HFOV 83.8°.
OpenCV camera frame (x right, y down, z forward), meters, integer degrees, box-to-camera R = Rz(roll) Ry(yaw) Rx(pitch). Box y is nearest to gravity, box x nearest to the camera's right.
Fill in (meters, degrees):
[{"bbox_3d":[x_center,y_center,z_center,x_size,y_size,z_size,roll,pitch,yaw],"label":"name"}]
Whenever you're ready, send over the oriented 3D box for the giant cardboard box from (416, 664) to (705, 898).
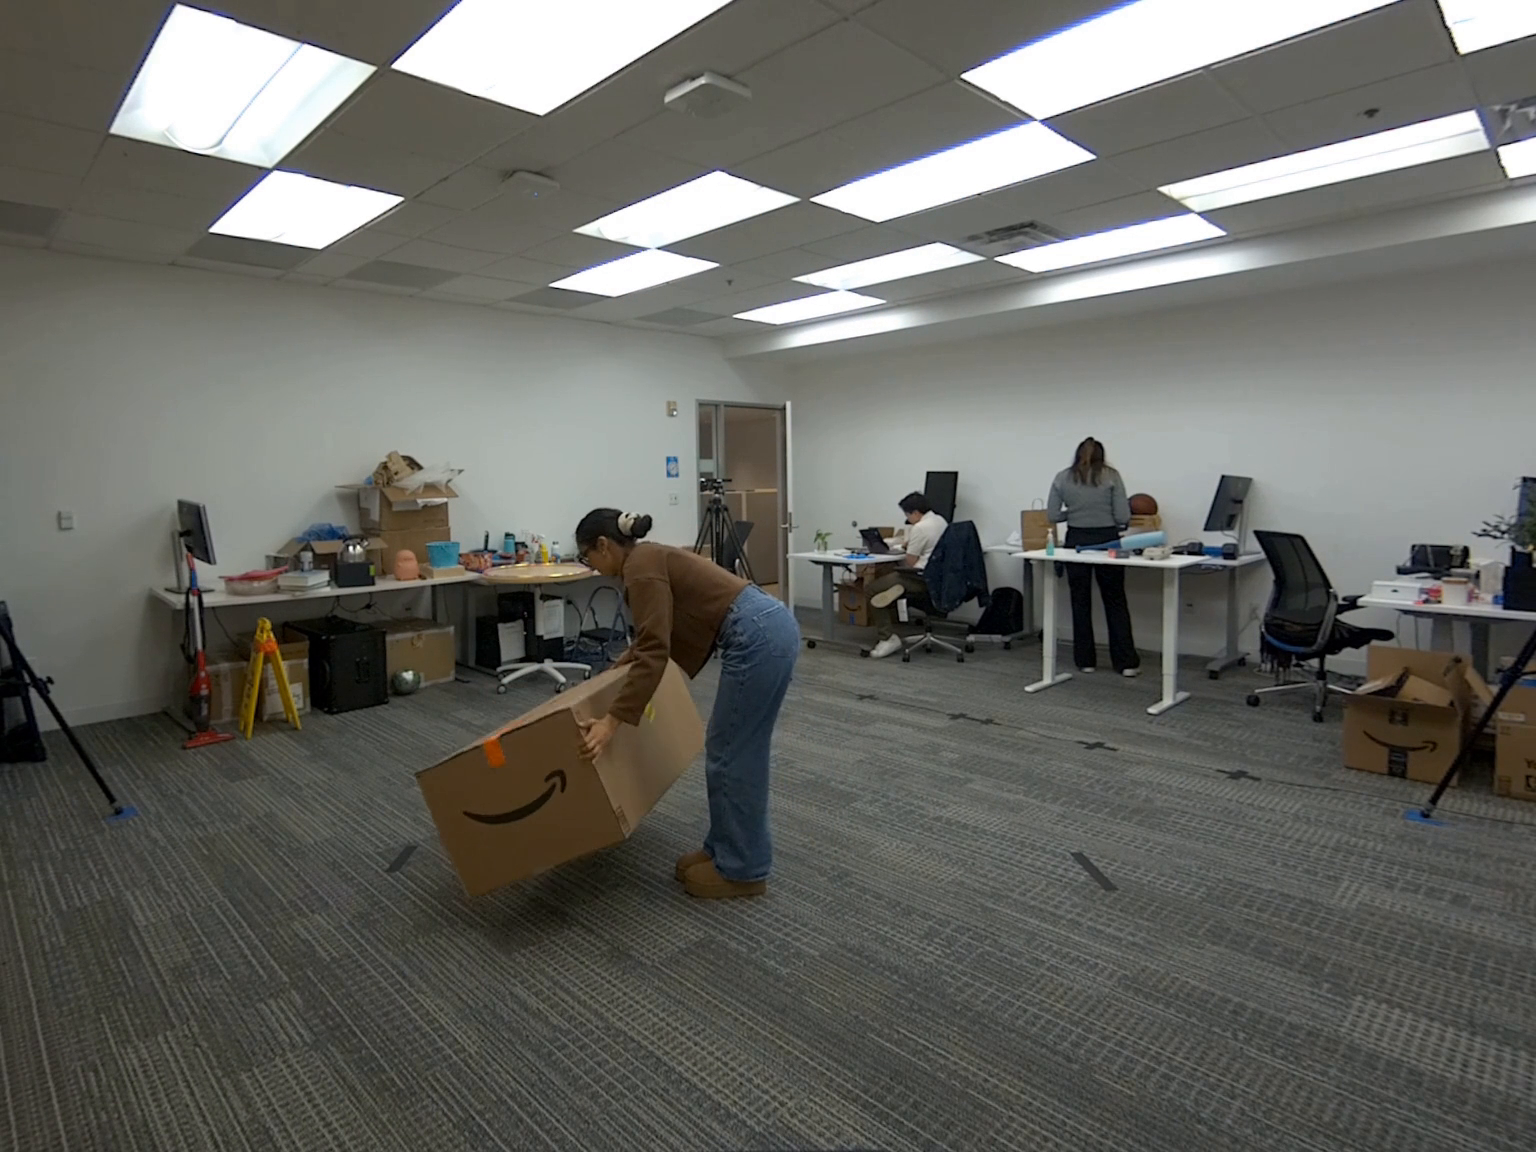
[{"bbox_3d":[-0.659,0.641,3.063,0.581,0.427,1.017,-23,0,11],"label":"giant cardboard box"}]
